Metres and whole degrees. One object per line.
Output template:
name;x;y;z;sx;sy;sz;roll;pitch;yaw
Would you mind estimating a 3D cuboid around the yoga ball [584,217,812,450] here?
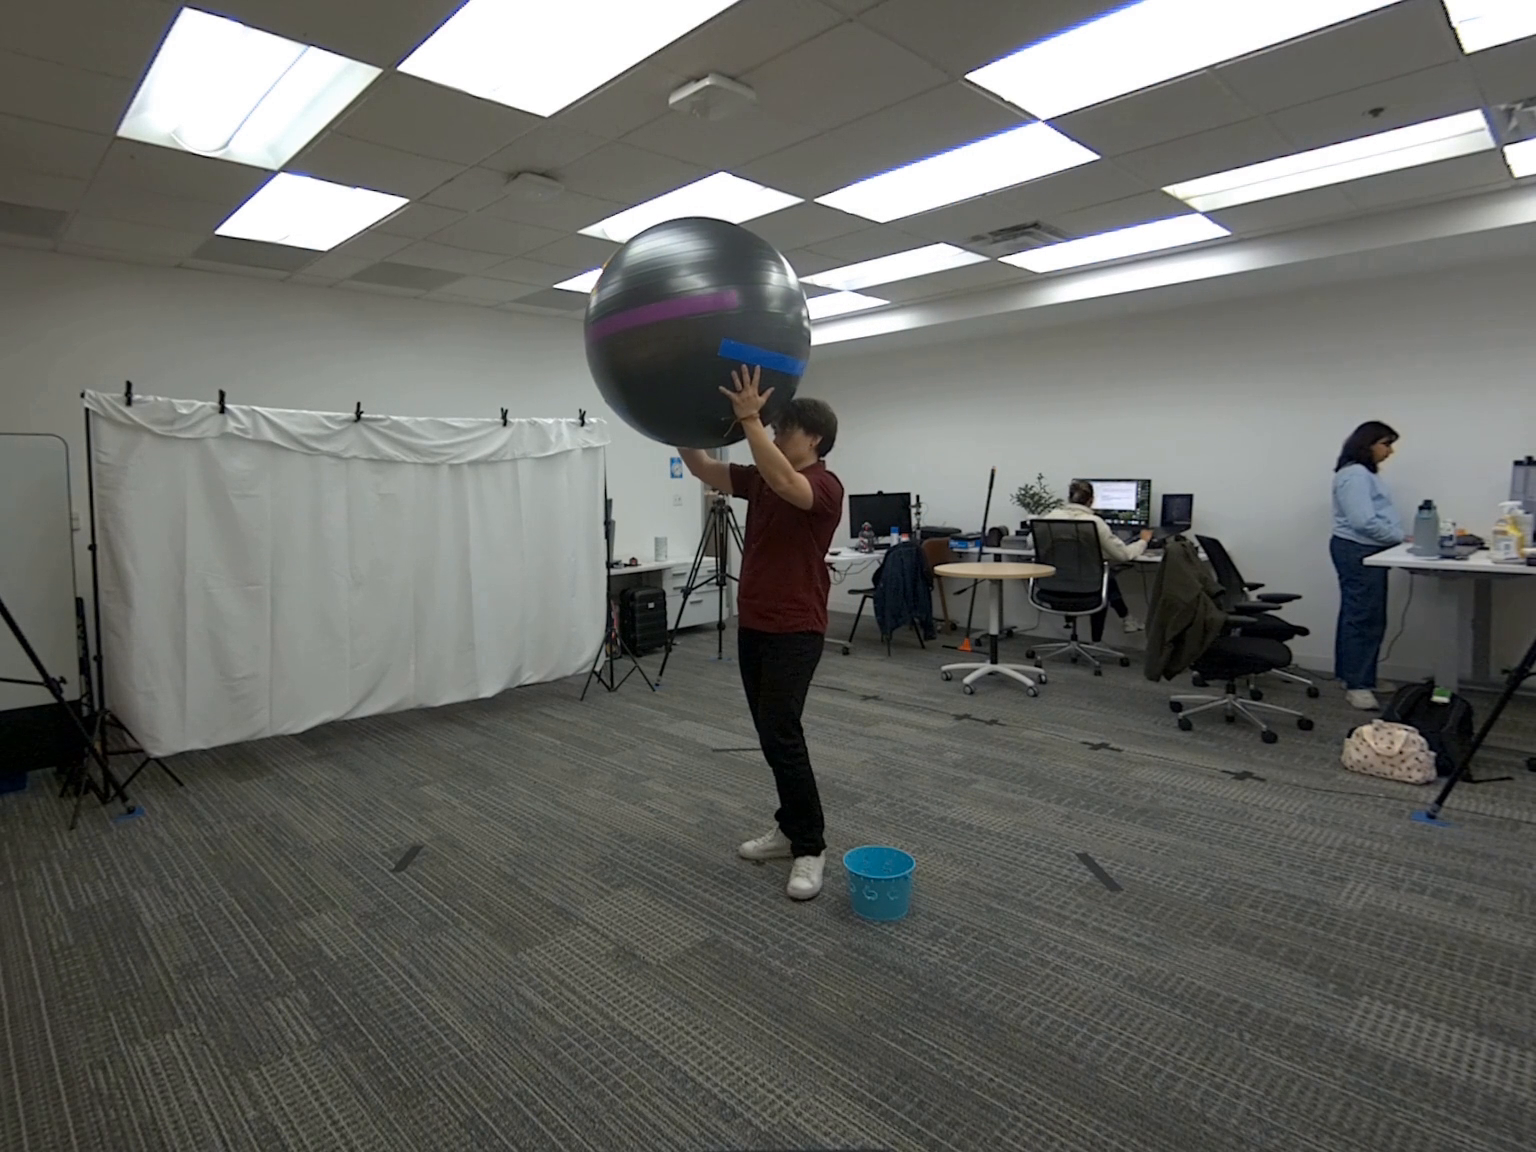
yoga ball;-0.234;-0.803;2.862;0.757;0.755;0.762;-1;5;-2
